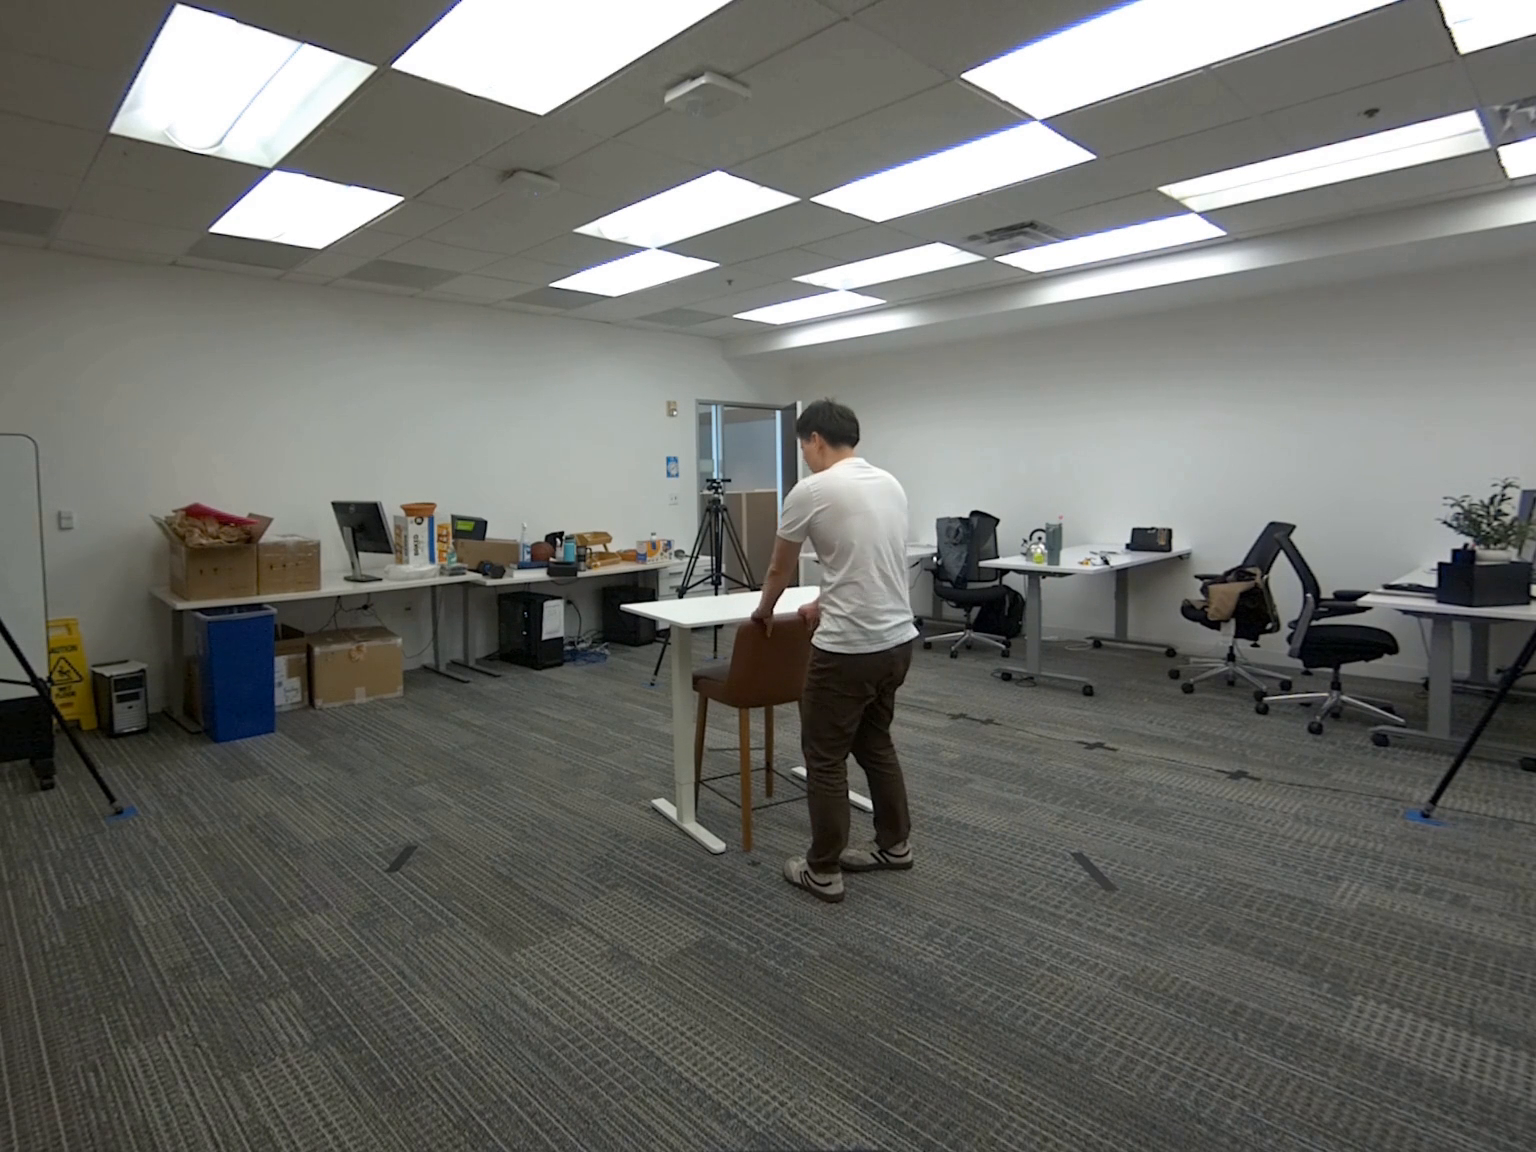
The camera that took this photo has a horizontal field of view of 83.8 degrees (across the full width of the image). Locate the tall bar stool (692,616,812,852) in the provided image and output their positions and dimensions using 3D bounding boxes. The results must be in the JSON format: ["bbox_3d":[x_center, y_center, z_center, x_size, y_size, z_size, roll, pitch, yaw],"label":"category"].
[{"bbox_3d":[-0.040,0.572,3.441,0.446,0.885,0.481,-2,7,-29],"label":"tall bar stool"}]
